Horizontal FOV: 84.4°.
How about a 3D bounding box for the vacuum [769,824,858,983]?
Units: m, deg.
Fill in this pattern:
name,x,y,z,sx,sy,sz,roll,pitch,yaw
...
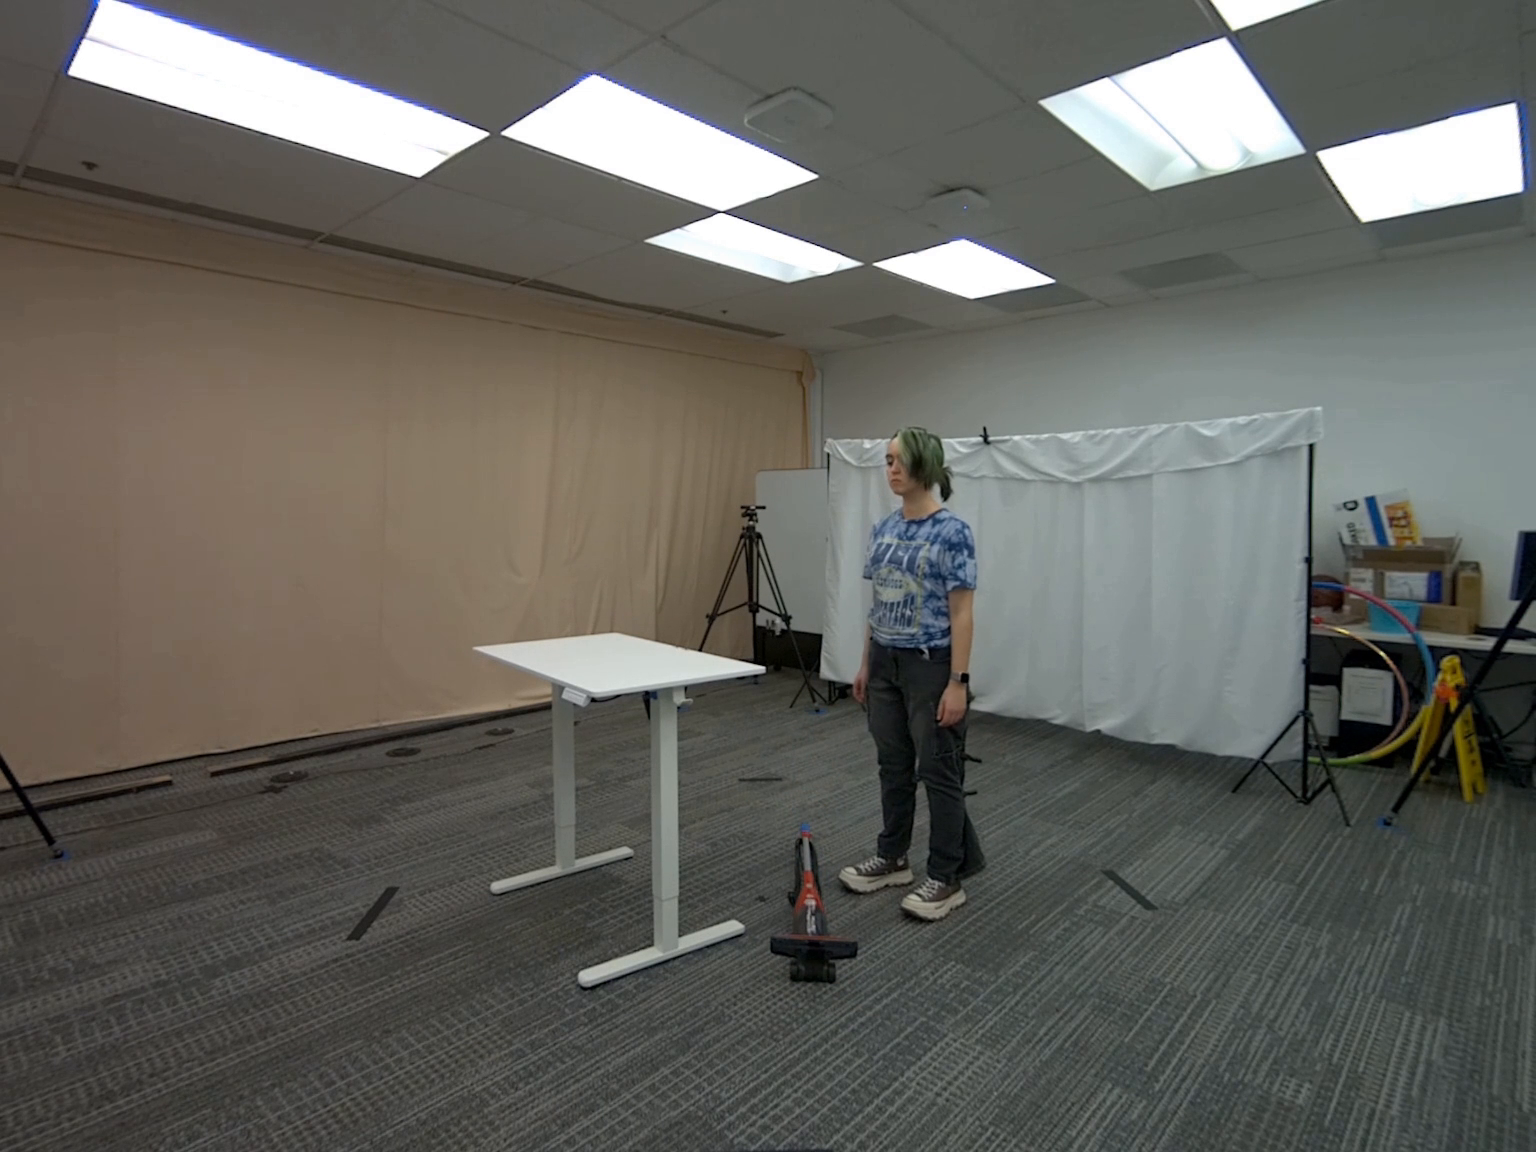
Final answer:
name,x,y,z,sx,sy,sz,roll,pitch,yaw
vacuum,0.134,1.083,2.957,0.253,0.144,1.050,0,4,-1
